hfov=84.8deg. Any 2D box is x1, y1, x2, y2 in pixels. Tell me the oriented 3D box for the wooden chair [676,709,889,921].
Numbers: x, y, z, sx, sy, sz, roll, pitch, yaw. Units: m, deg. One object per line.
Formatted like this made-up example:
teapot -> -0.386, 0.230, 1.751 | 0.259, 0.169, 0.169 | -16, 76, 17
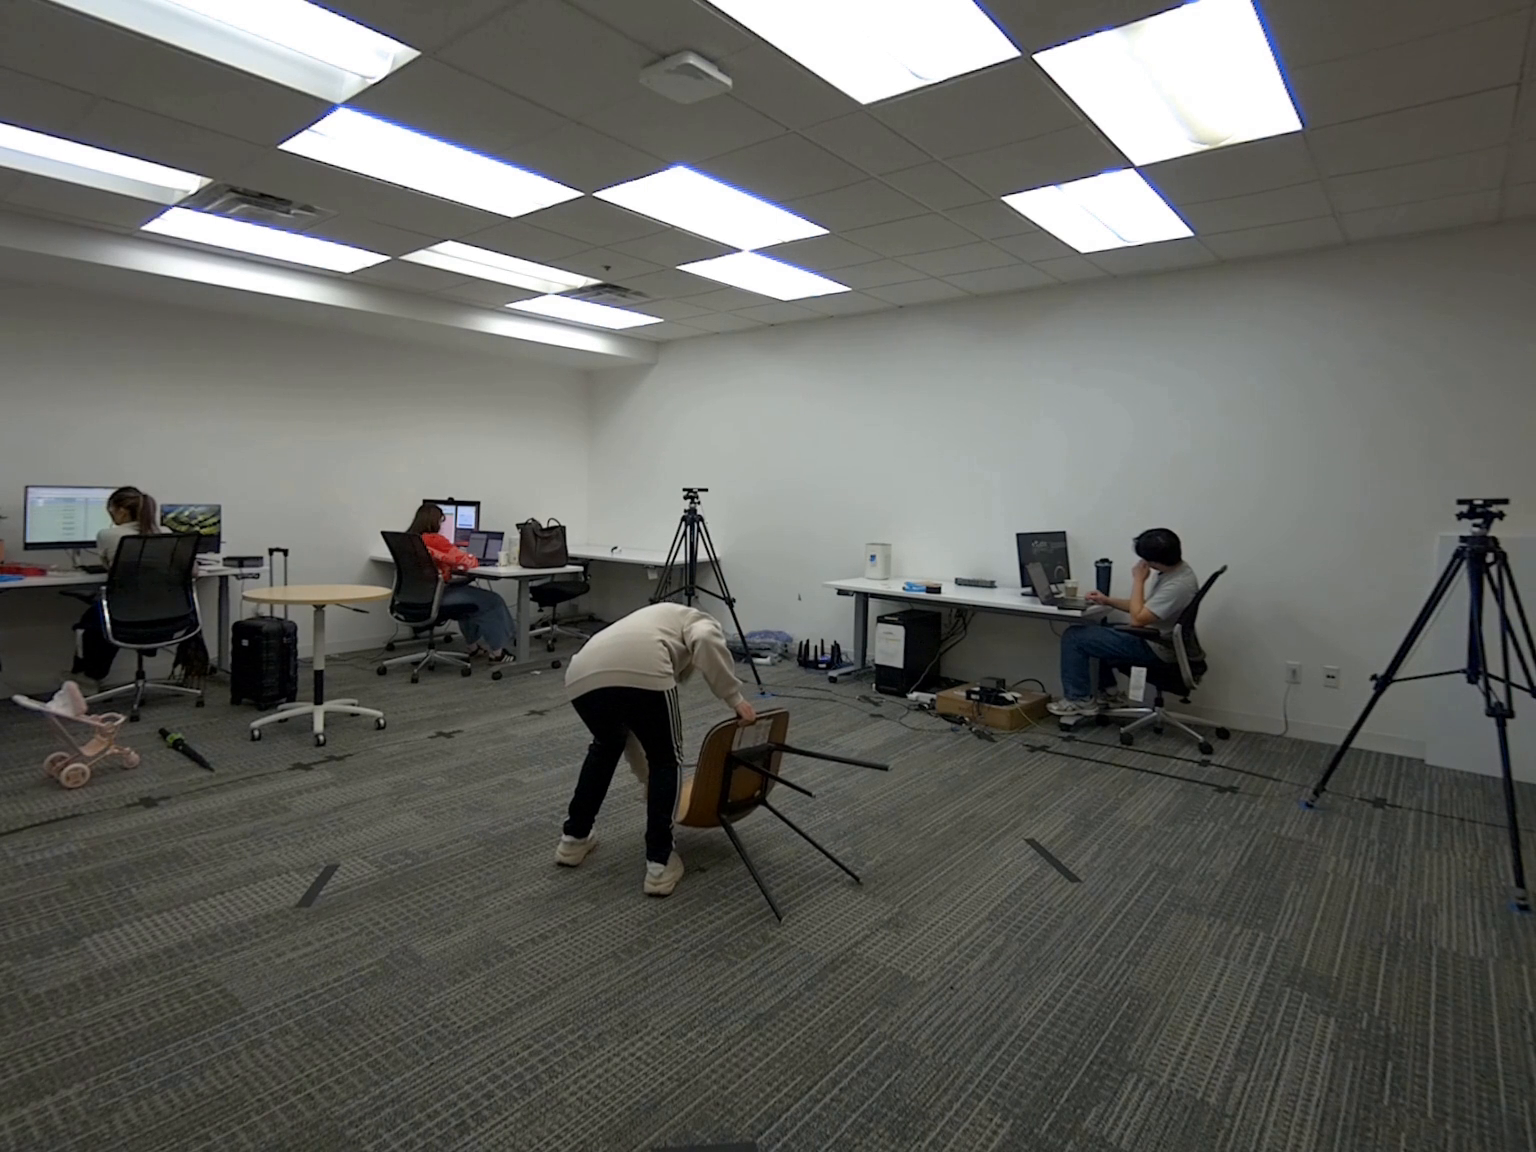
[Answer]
wooden chair -> -0.079, 0.748, 3.107 | 0.911, 0.520, 0.463 | 16, 11, 41
